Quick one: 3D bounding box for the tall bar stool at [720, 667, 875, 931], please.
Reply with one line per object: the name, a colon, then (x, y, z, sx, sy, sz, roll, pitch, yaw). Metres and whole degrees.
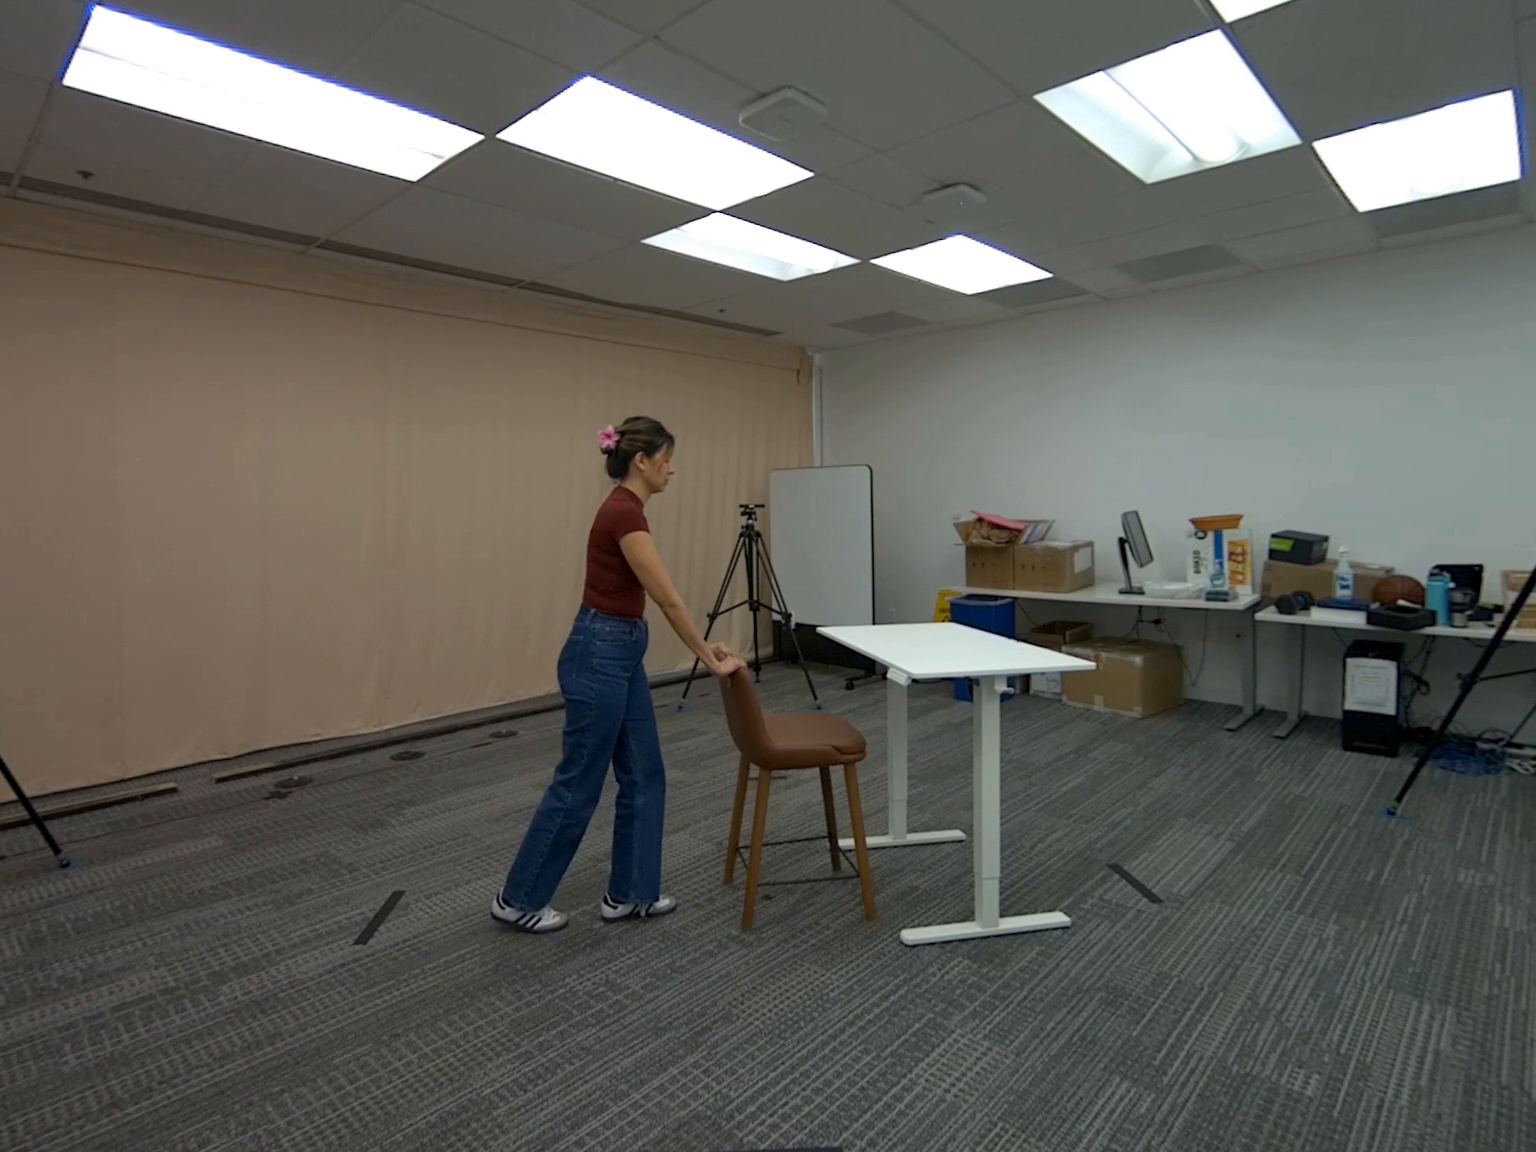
tall bar stool: (0.082, 0.702, 2.940, 0.463, 0.887, 0.463, -4, 4, -11)
